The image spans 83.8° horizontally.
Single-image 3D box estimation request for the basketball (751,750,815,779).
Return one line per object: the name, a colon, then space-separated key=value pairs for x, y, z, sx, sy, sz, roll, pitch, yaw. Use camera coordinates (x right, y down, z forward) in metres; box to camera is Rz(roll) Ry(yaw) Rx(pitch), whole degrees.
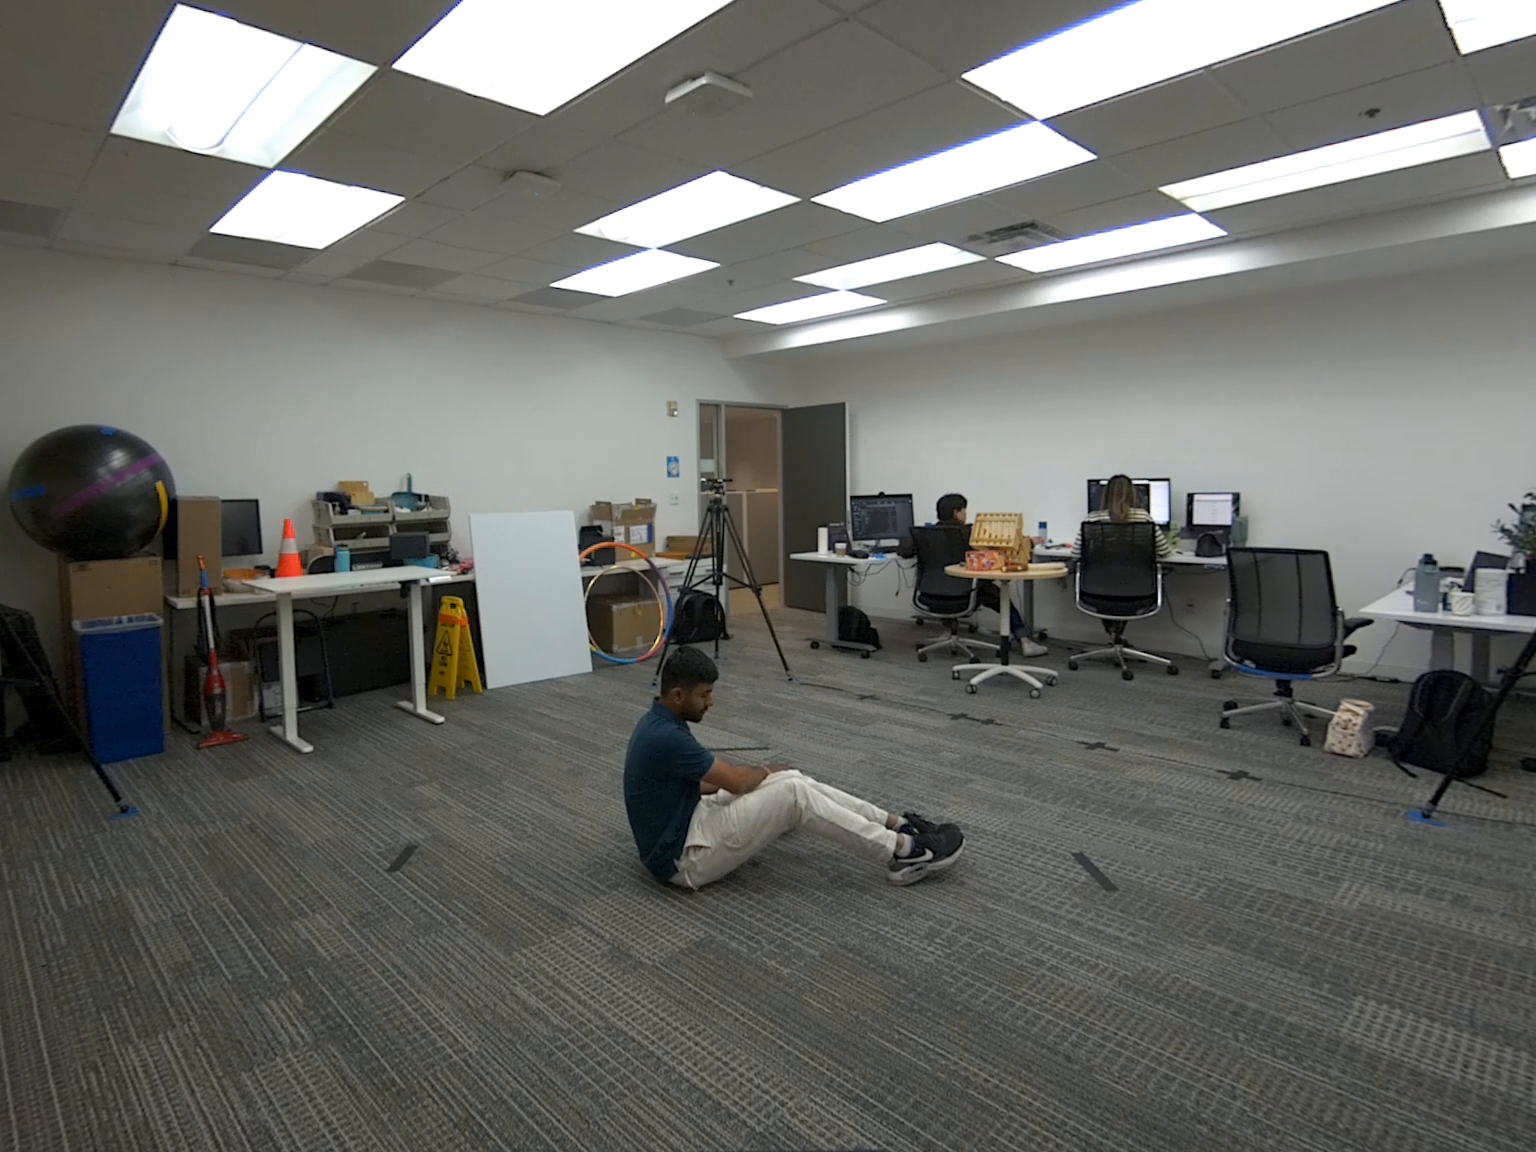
basketball: x=0.055 y=0.848 z=3.422 sx=0.236 sy=0.235 sz=0.237 roll=-1 pitch=5 yaw=-2
